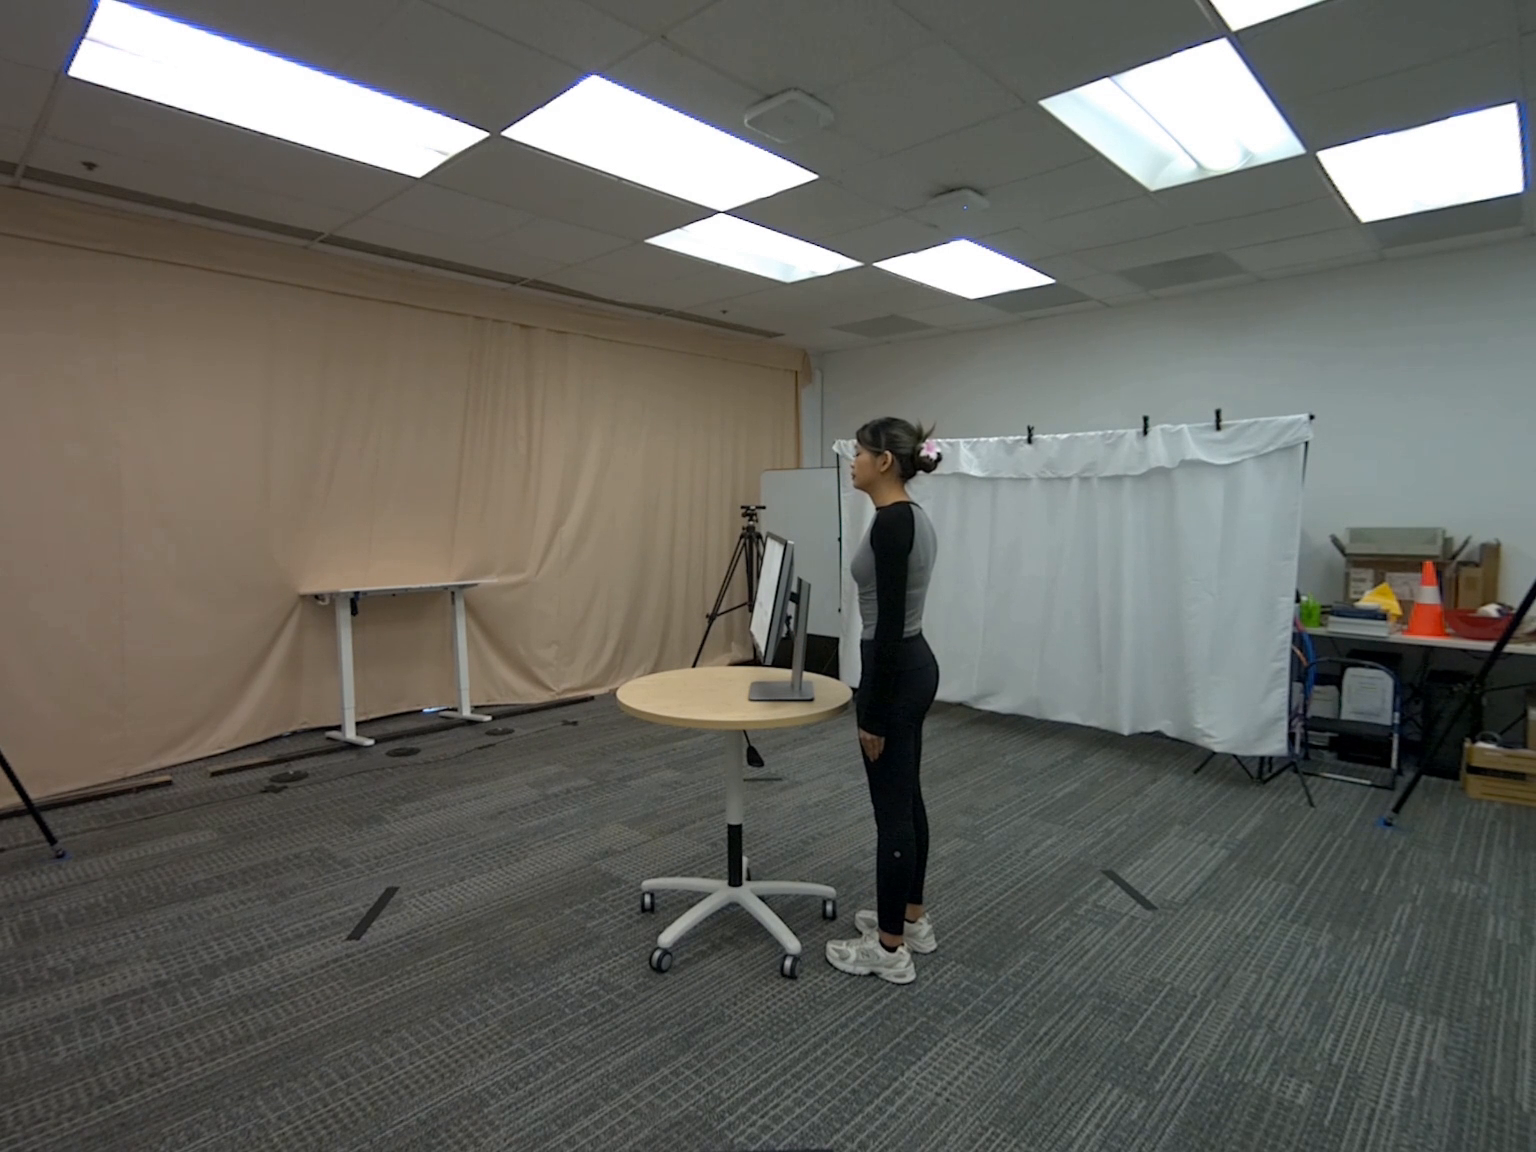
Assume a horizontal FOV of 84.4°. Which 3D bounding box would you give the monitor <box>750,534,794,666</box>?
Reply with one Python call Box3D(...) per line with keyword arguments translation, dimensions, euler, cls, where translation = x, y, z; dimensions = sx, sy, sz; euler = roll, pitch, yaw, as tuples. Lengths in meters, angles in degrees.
Box3D(translation=(0.053, 0.128, 2.692), dimensions=(0.186, 0.521, 0.544), euler=(-2, 5, -7), cls="monitor")
